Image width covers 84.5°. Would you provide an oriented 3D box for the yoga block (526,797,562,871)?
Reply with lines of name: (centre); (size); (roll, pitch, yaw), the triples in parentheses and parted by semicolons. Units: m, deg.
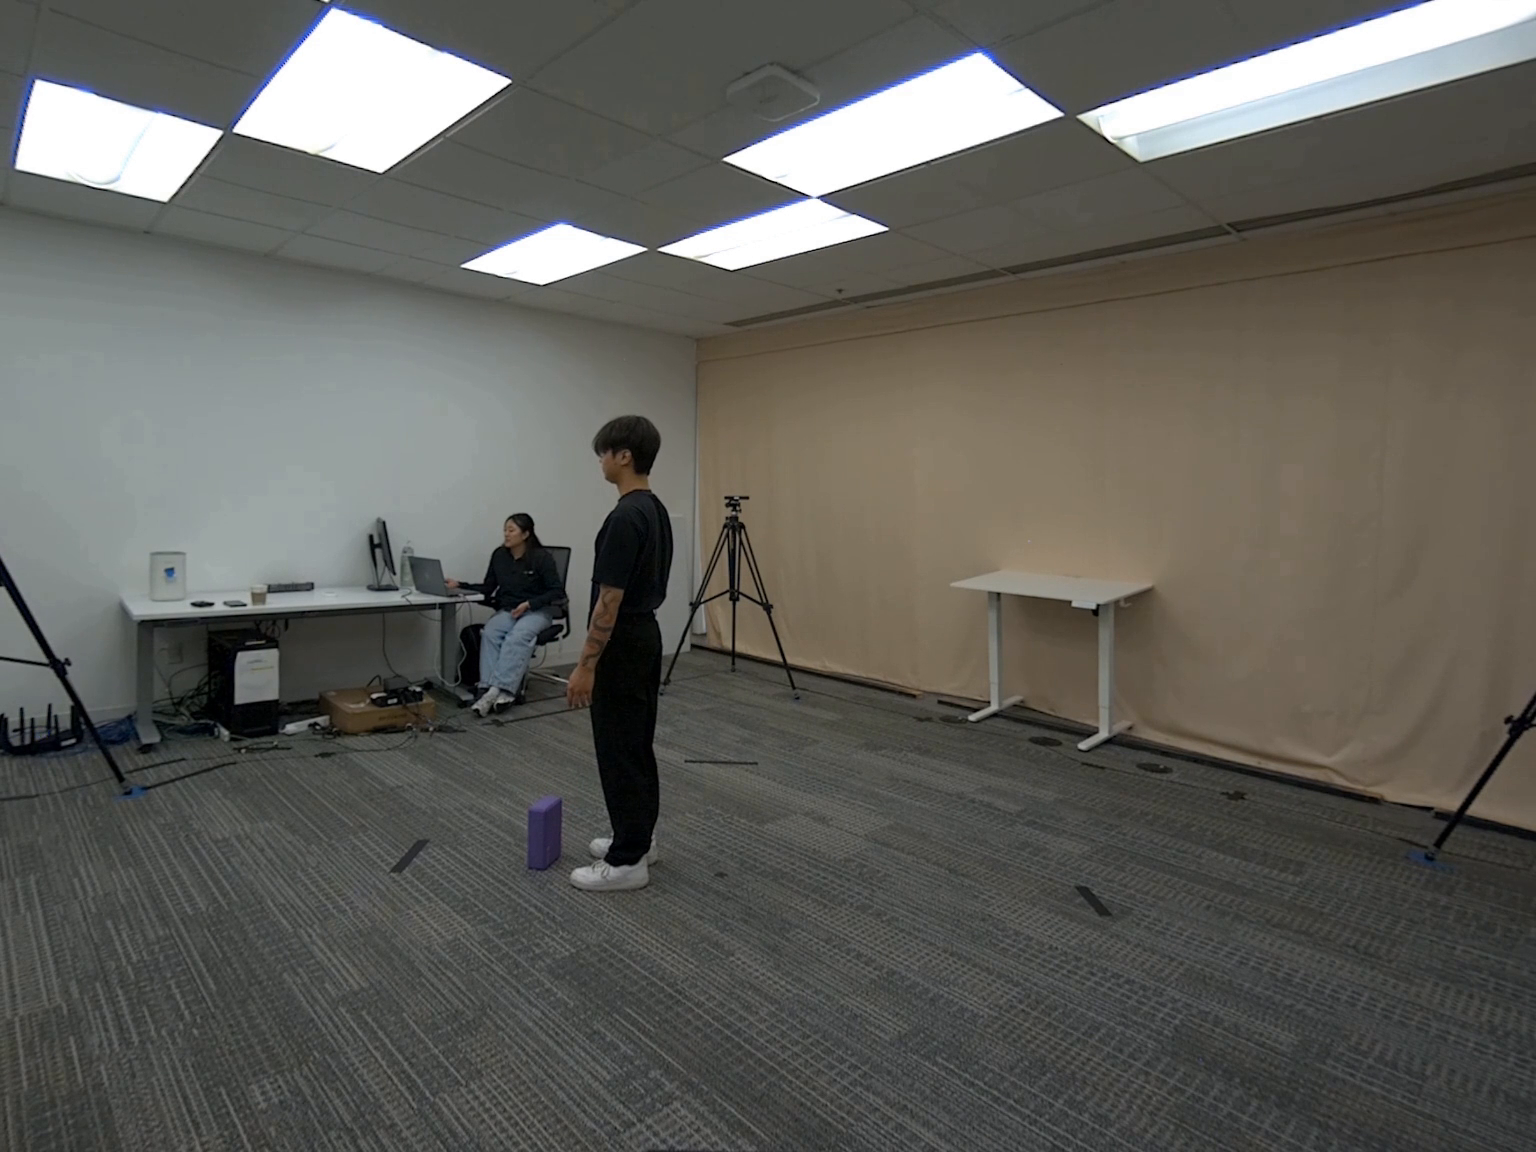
yoga block: (-0.839, 0.964, 3.174); (0.077, 0.229, 0.148); (1, 3, 10)
